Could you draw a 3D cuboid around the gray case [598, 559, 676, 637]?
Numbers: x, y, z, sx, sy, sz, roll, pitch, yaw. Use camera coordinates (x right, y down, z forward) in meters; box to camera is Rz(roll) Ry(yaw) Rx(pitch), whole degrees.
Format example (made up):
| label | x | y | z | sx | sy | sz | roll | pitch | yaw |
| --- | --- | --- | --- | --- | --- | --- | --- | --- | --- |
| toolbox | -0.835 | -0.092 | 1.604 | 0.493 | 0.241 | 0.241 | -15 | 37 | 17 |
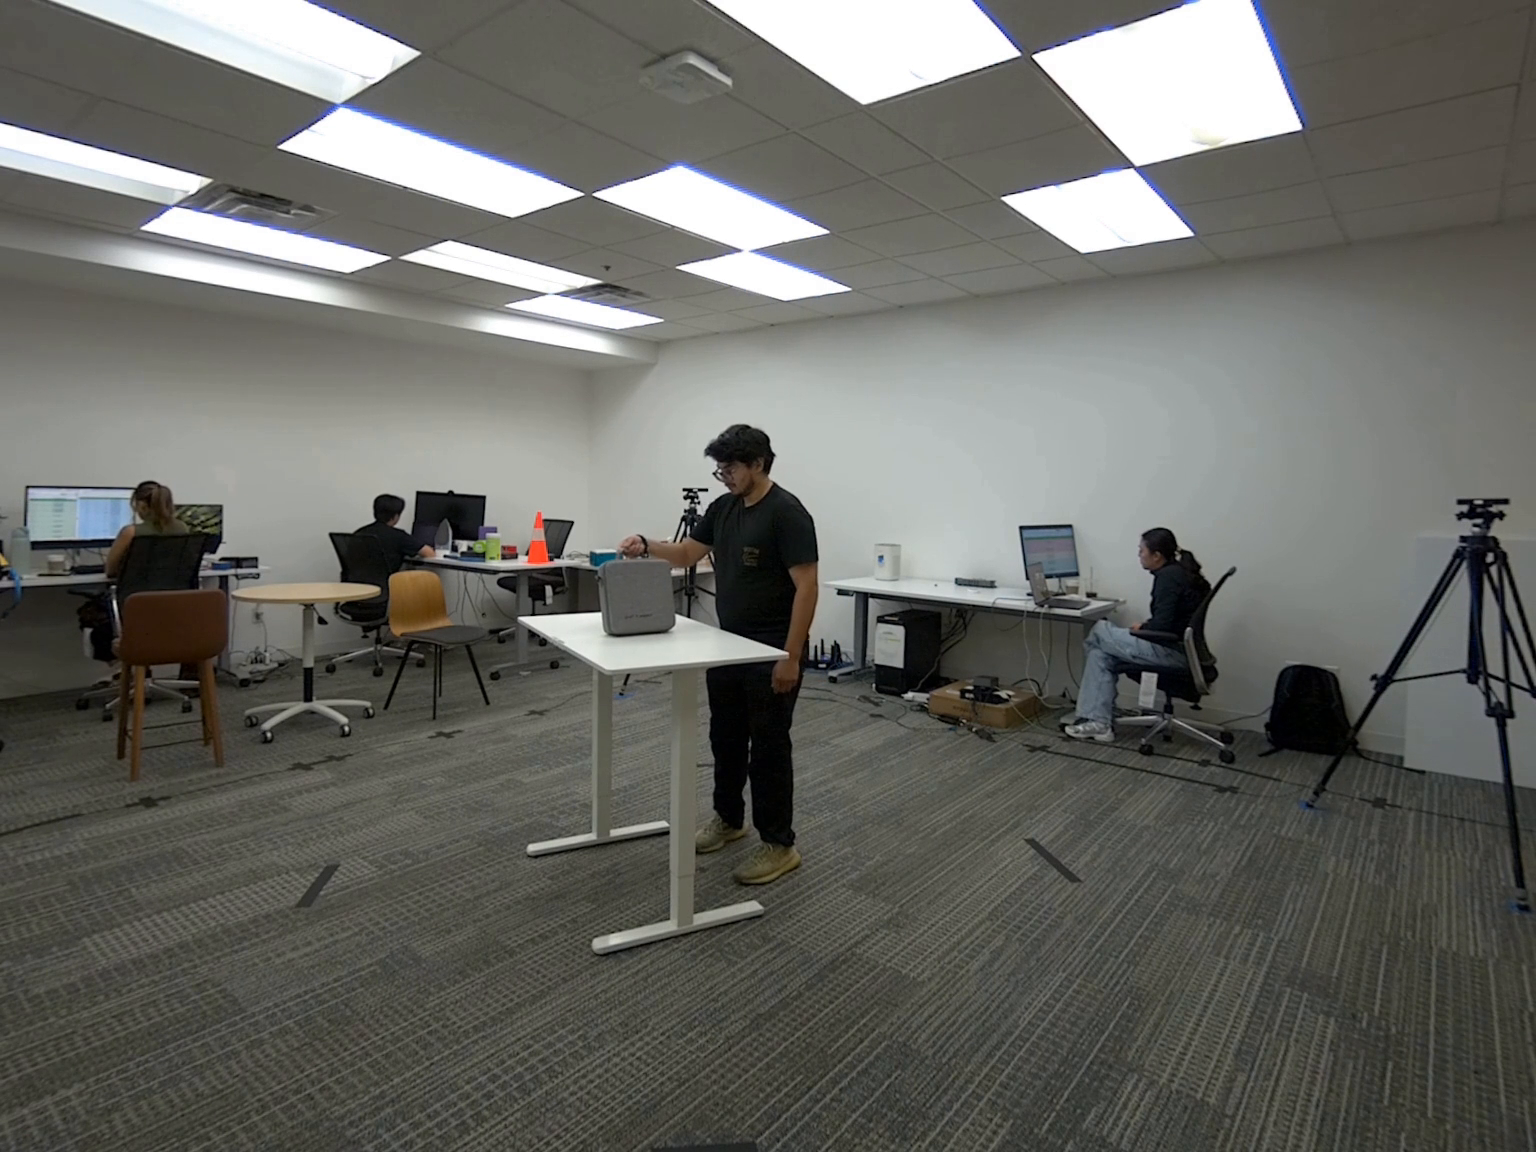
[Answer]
| label | x | y | z | sx | sy | sz | roll | pitch | yaw |
| --- | --- | --- | --- | --- | --- | --- | --- | --- | --- |
| gray case | -0.474 | 0.064 | 2.973 | 0.250 | 0.263 | 0.106 | -2 | -8 | -30 |
